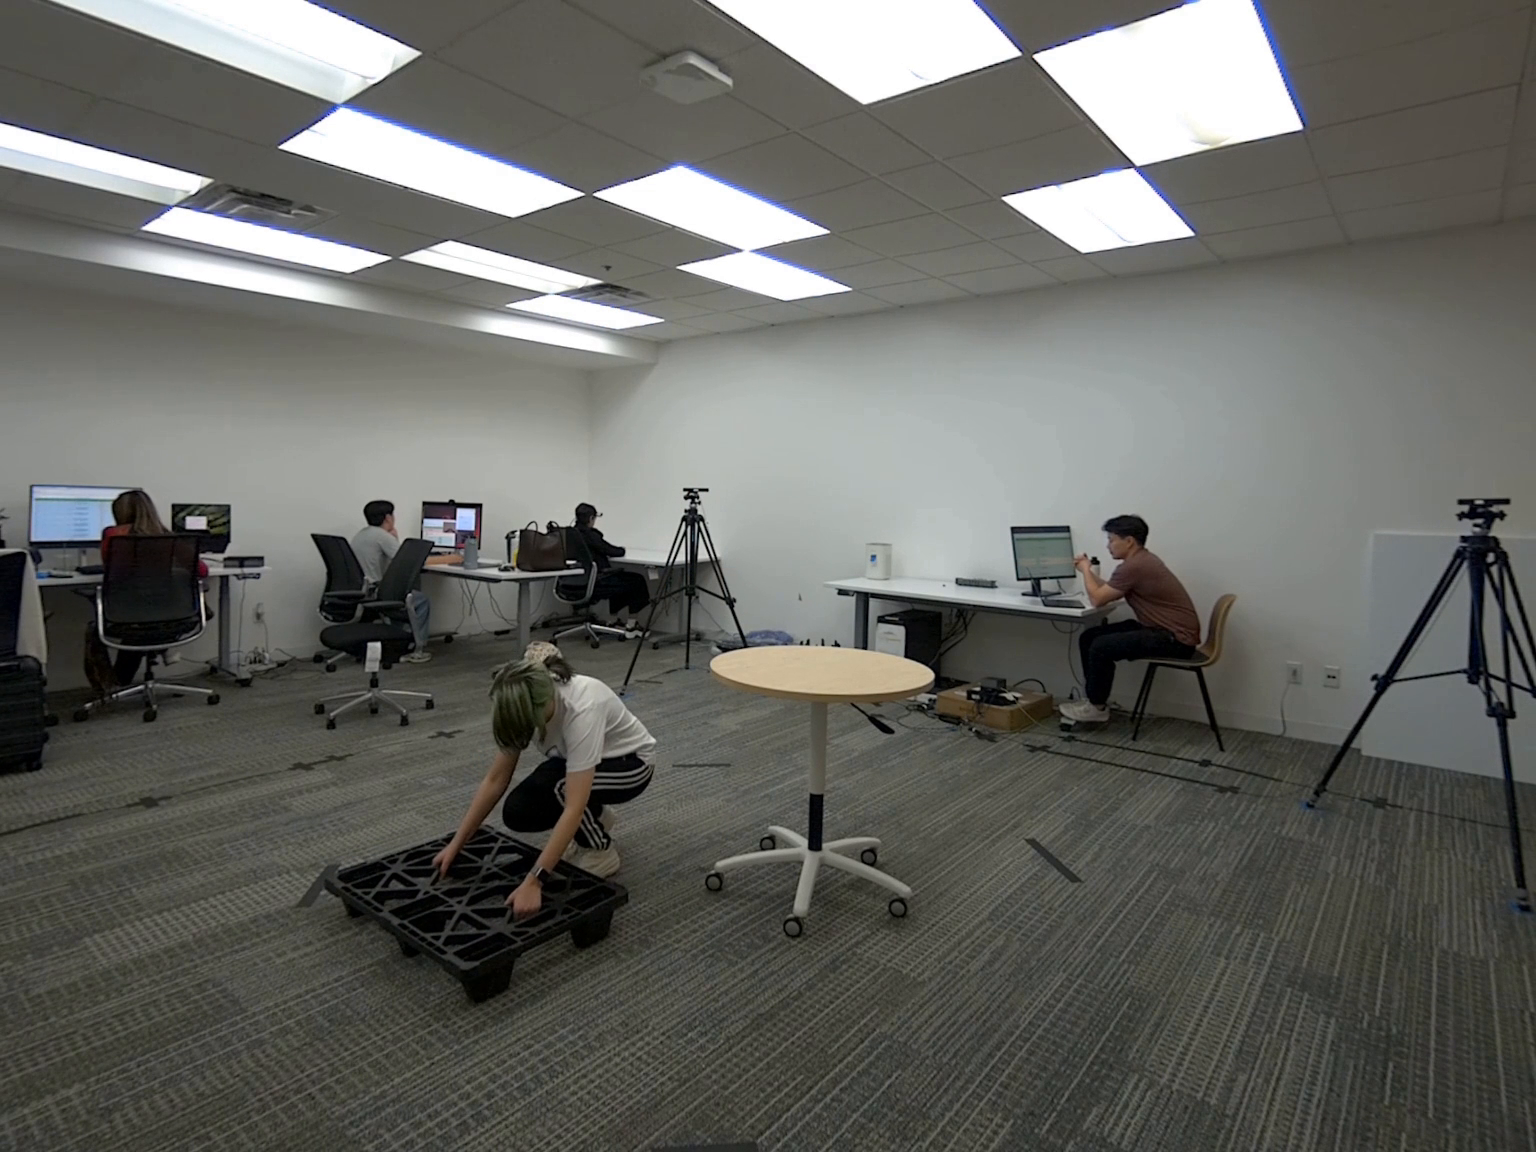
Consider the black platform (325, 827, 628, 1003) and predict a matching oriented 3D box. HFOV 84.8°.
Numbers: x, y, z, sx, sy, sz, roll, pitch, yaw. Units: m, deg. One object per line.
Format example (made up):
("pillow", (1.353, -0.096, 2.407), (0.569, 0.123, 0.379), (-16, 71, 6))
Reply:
("black platform", (-0.931, 1.029, 2.684), (0.832, 0.142, 0.588), (5, 8, 39))
